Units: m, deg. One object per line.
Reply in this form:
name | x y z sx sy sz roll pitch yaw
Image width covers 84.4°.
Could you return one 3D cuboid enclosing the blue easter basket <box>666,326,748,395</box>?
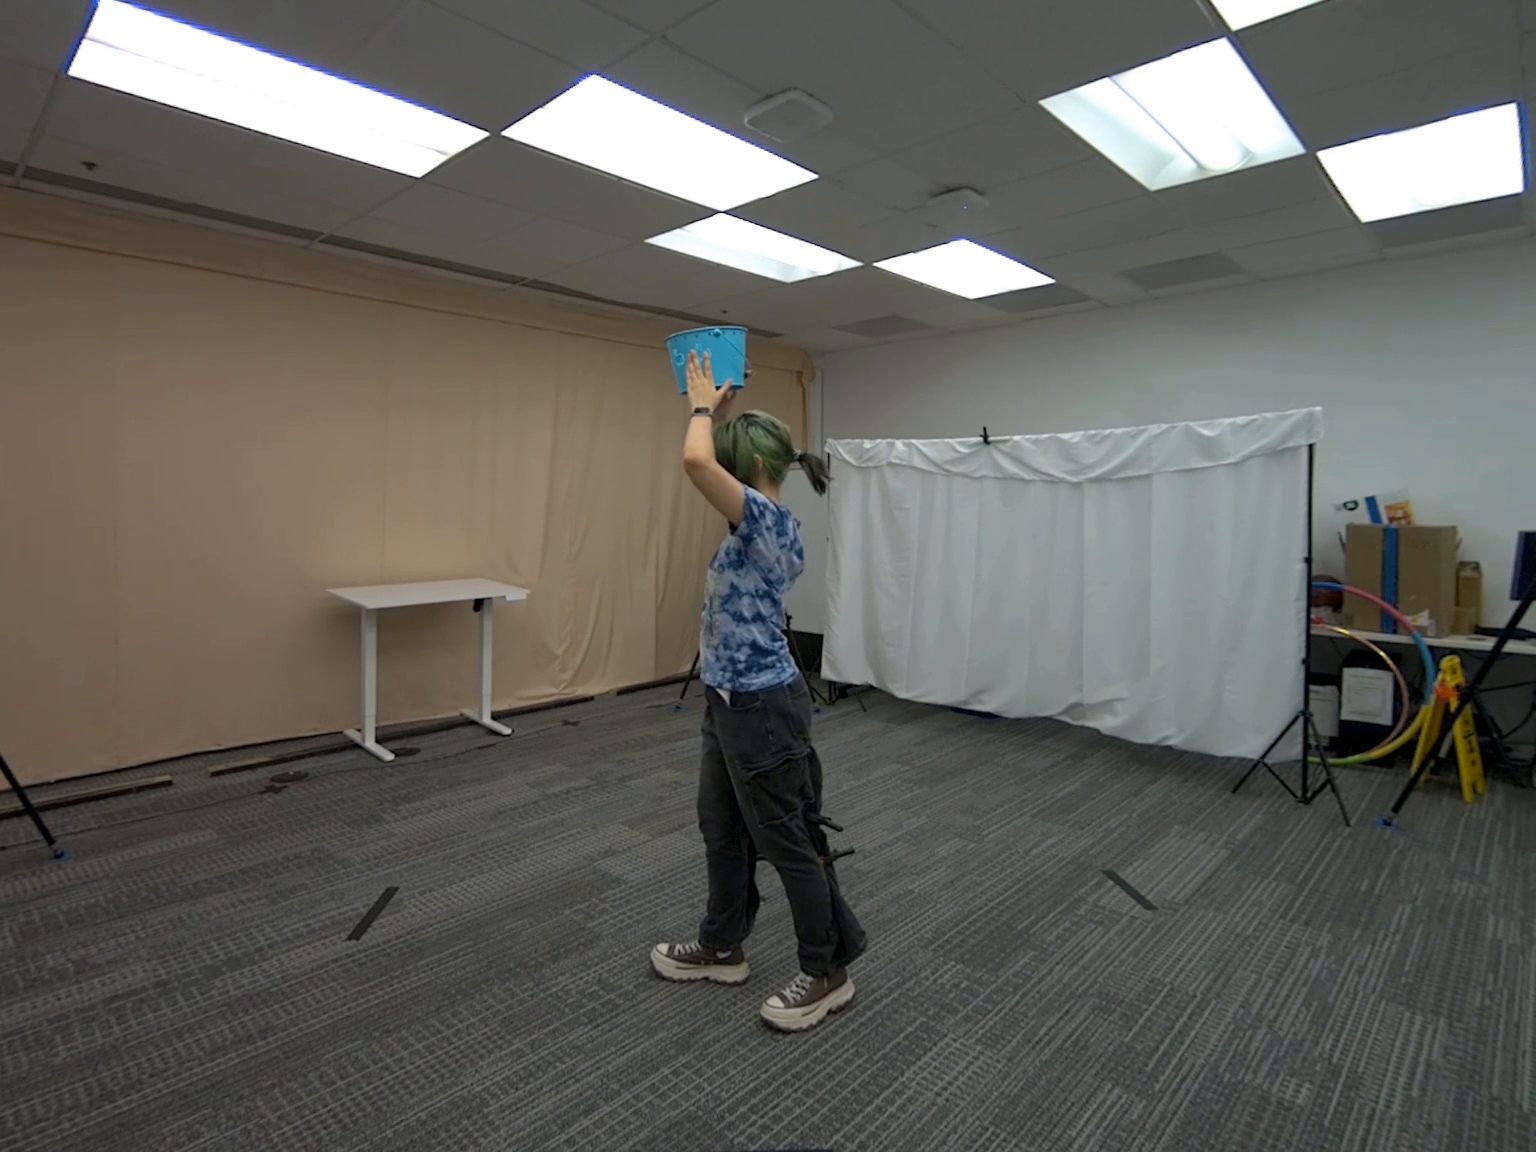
blue easter basket | -0.158 -0.597 2.330 0.243 0.155 0.244 -10 5 -1
